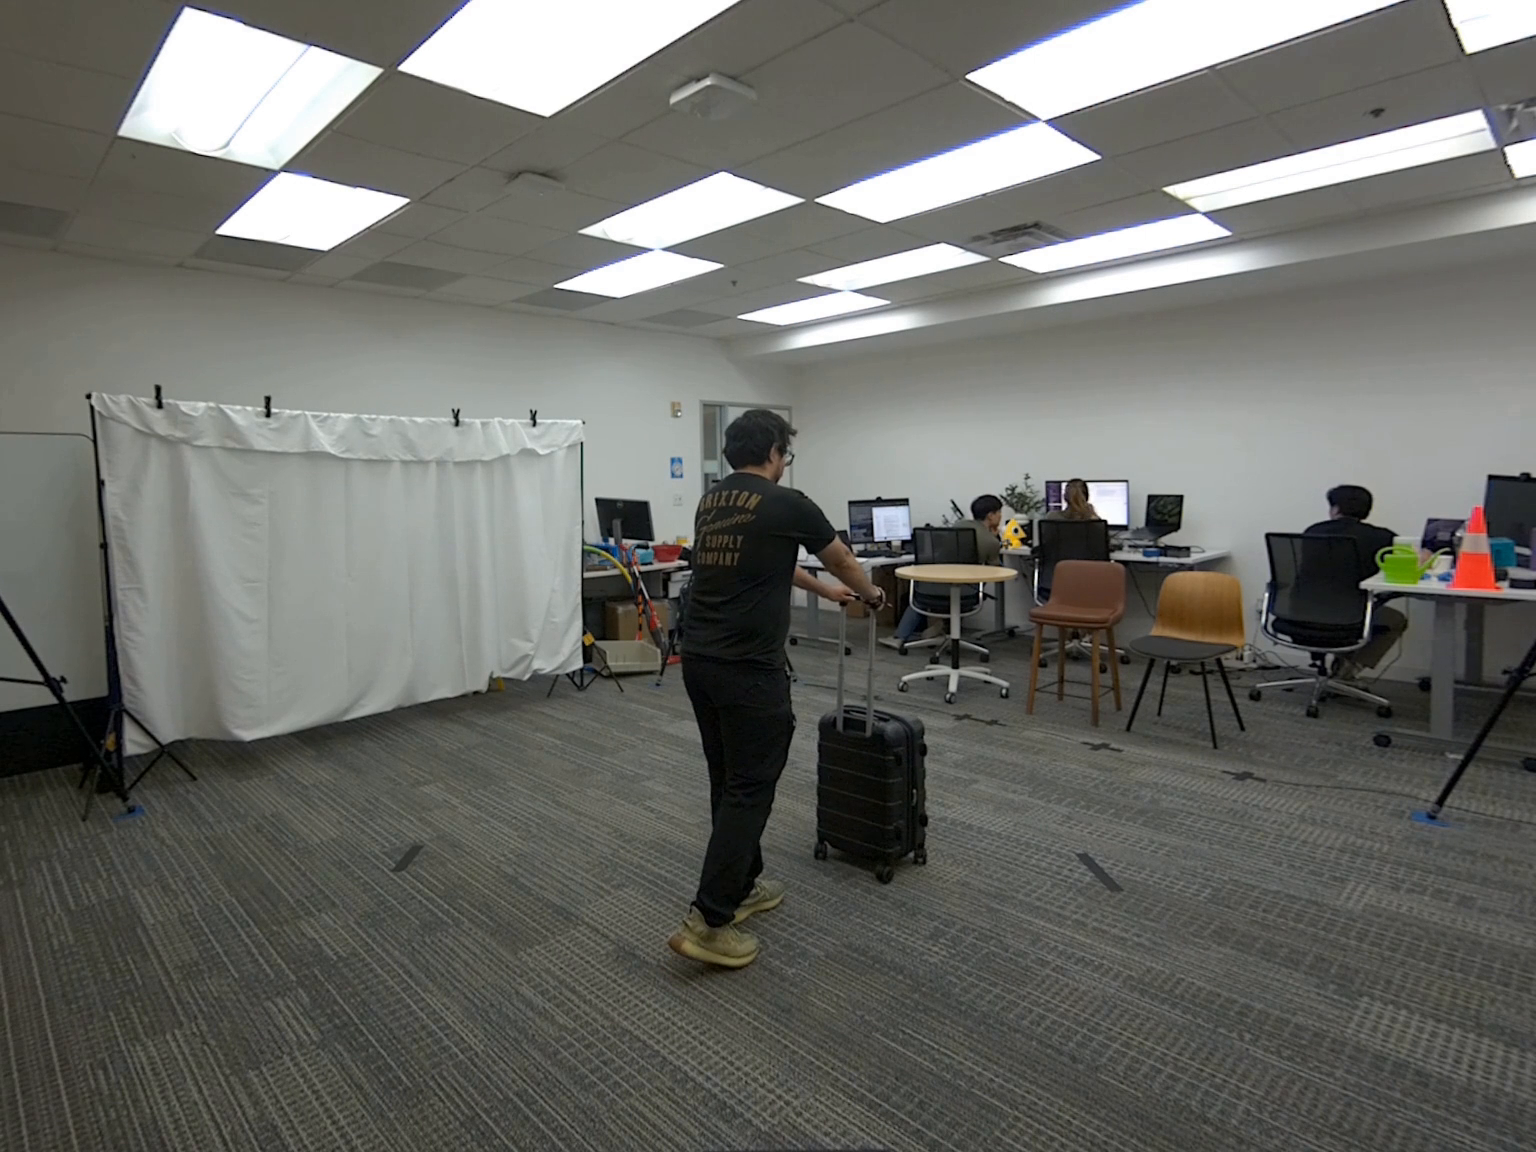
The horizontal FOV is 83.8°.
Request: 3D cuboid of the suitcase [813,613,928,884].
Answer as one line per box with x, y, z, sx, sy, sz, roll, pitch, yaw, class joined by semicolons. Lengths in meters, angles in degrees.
0.385;0.561;3.137;0.395;0.979;0.249;1;-1;44;suitcase
